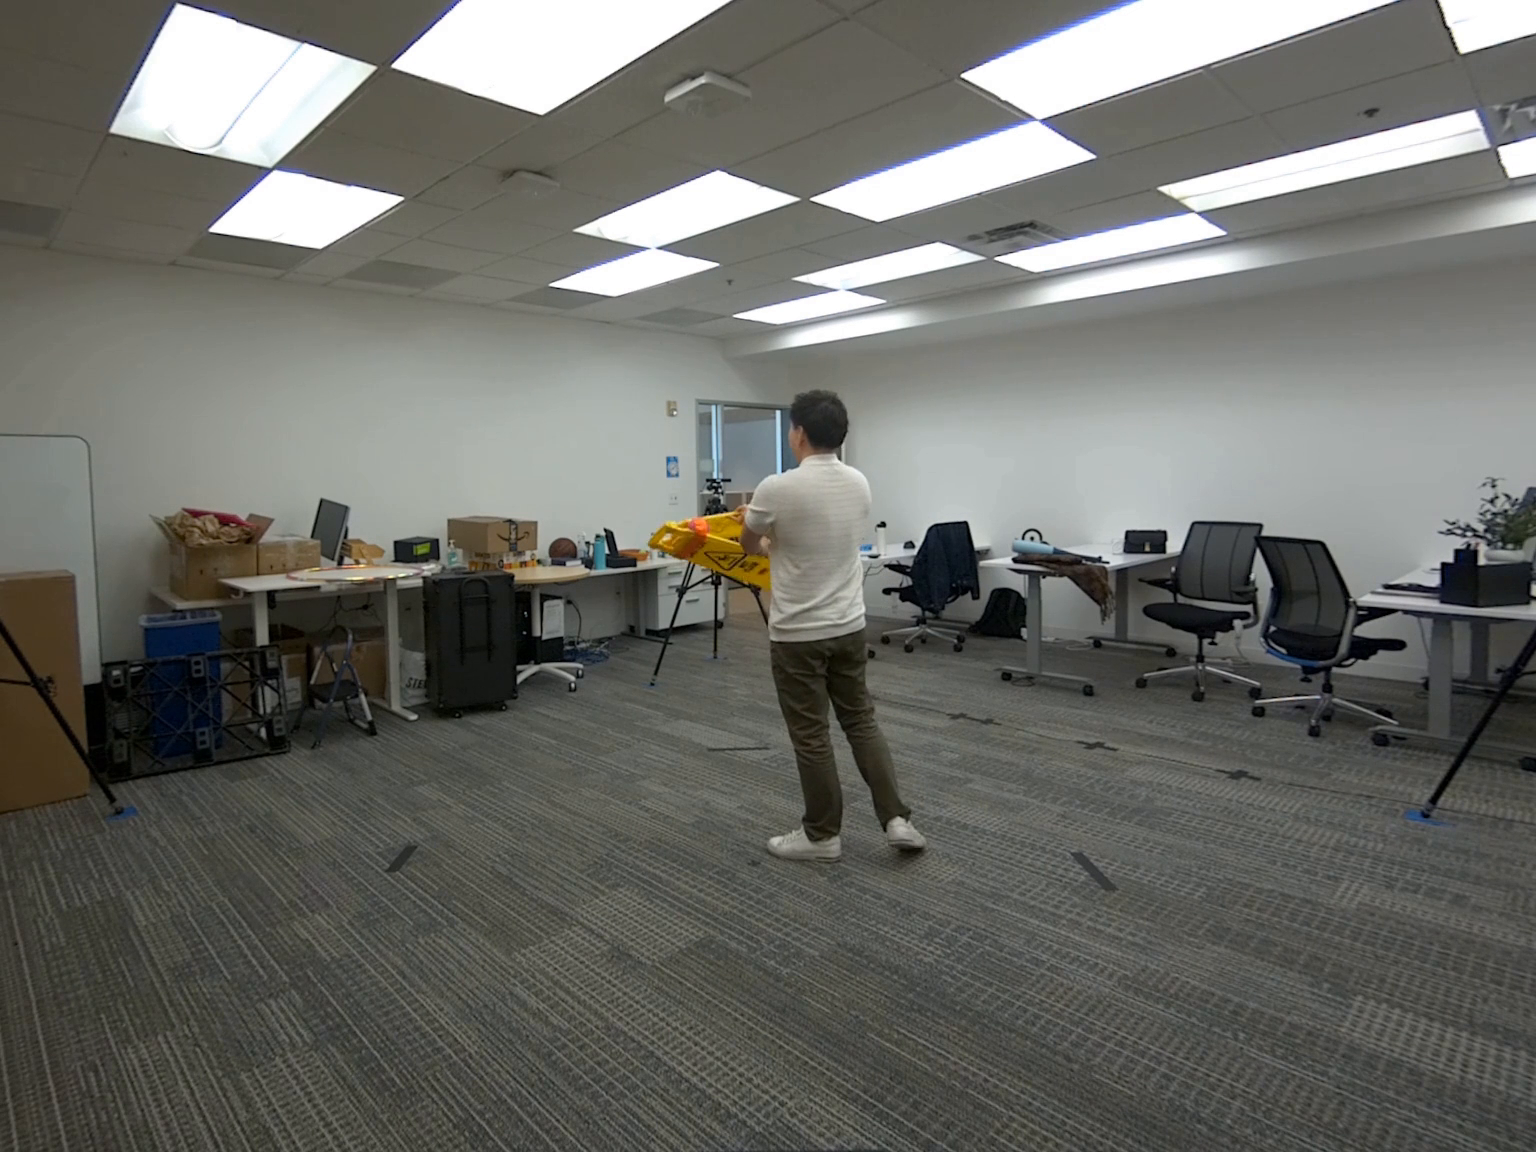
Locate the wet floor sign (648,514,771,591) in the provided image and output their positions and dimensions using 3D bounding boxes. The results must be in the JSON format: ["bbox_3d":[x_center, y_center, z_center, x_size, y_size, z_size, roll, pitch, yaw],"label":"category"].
[{"bbox_3d":[-0.181,-0.146,3.595,0.630,0.297,0.282,5,-28,-27],"label":"wet floor sign"}]
